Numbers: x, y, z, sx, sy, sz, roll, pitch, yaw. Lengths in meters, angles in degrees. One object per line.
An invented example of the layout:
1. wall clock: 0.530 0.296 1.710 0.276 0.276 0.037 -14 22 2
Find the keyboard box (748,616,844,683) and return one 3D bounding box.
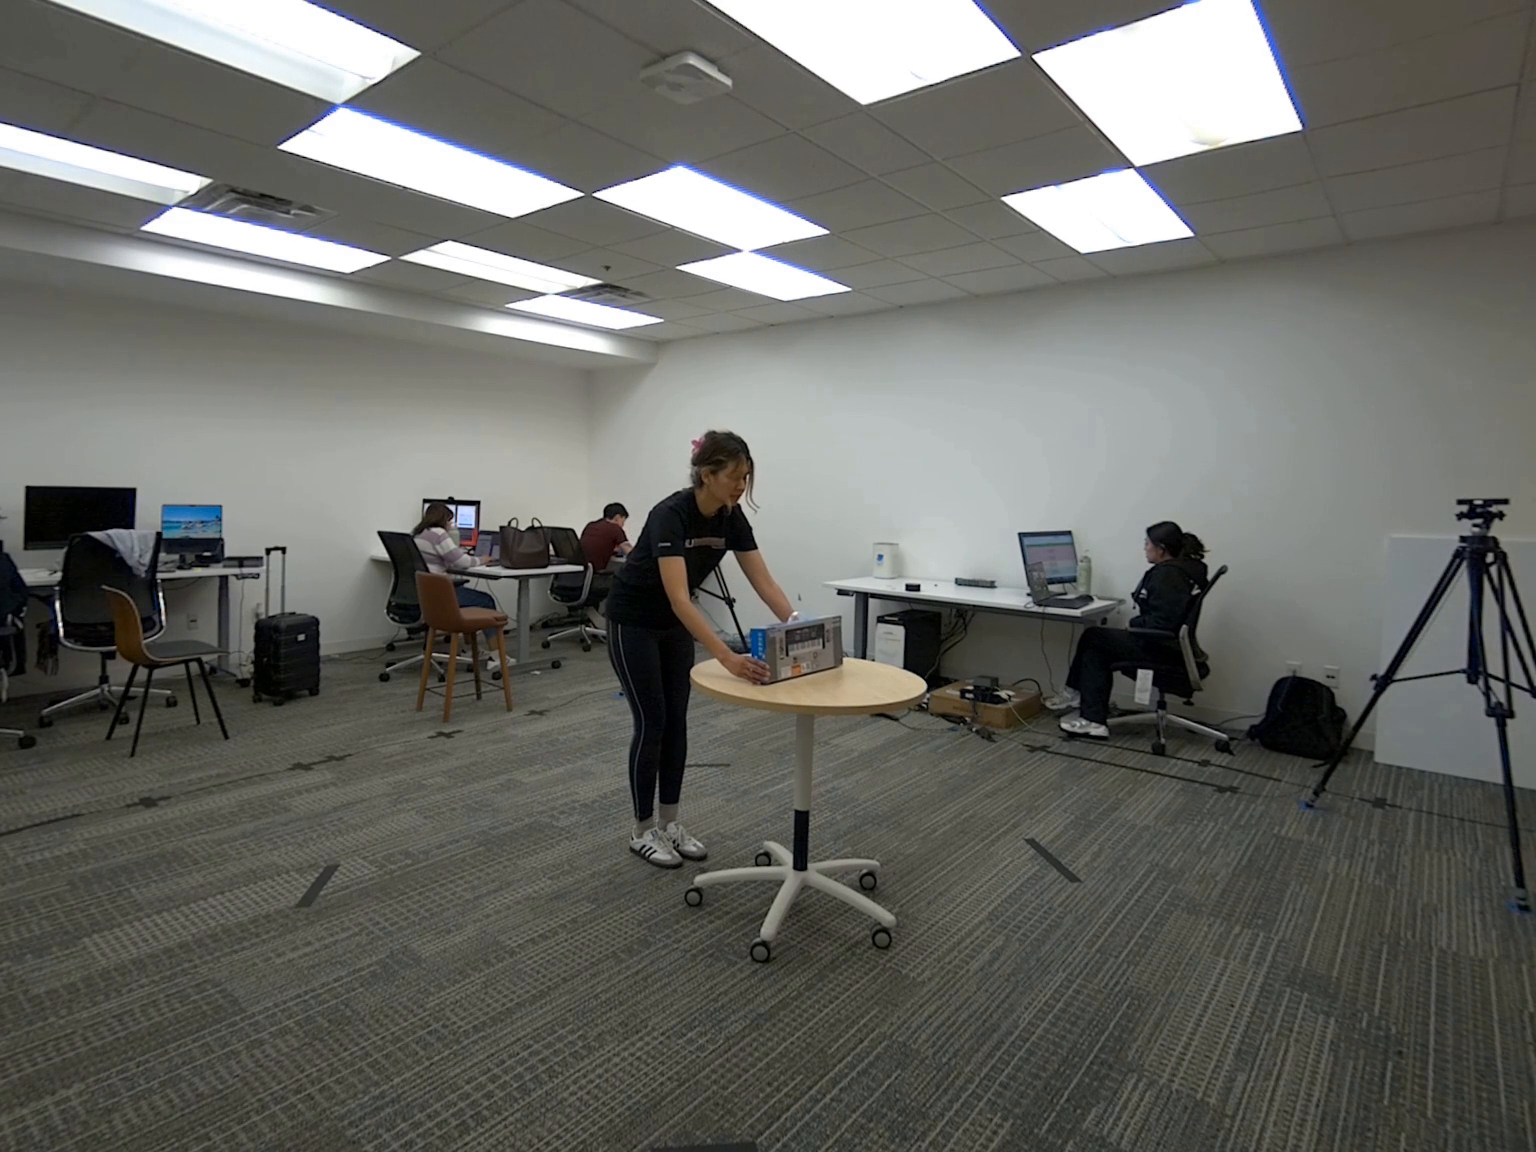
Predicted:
1. keyboard box: 0.095 0.235 2.809 0.061 0.176 0.424 -4 1 39
